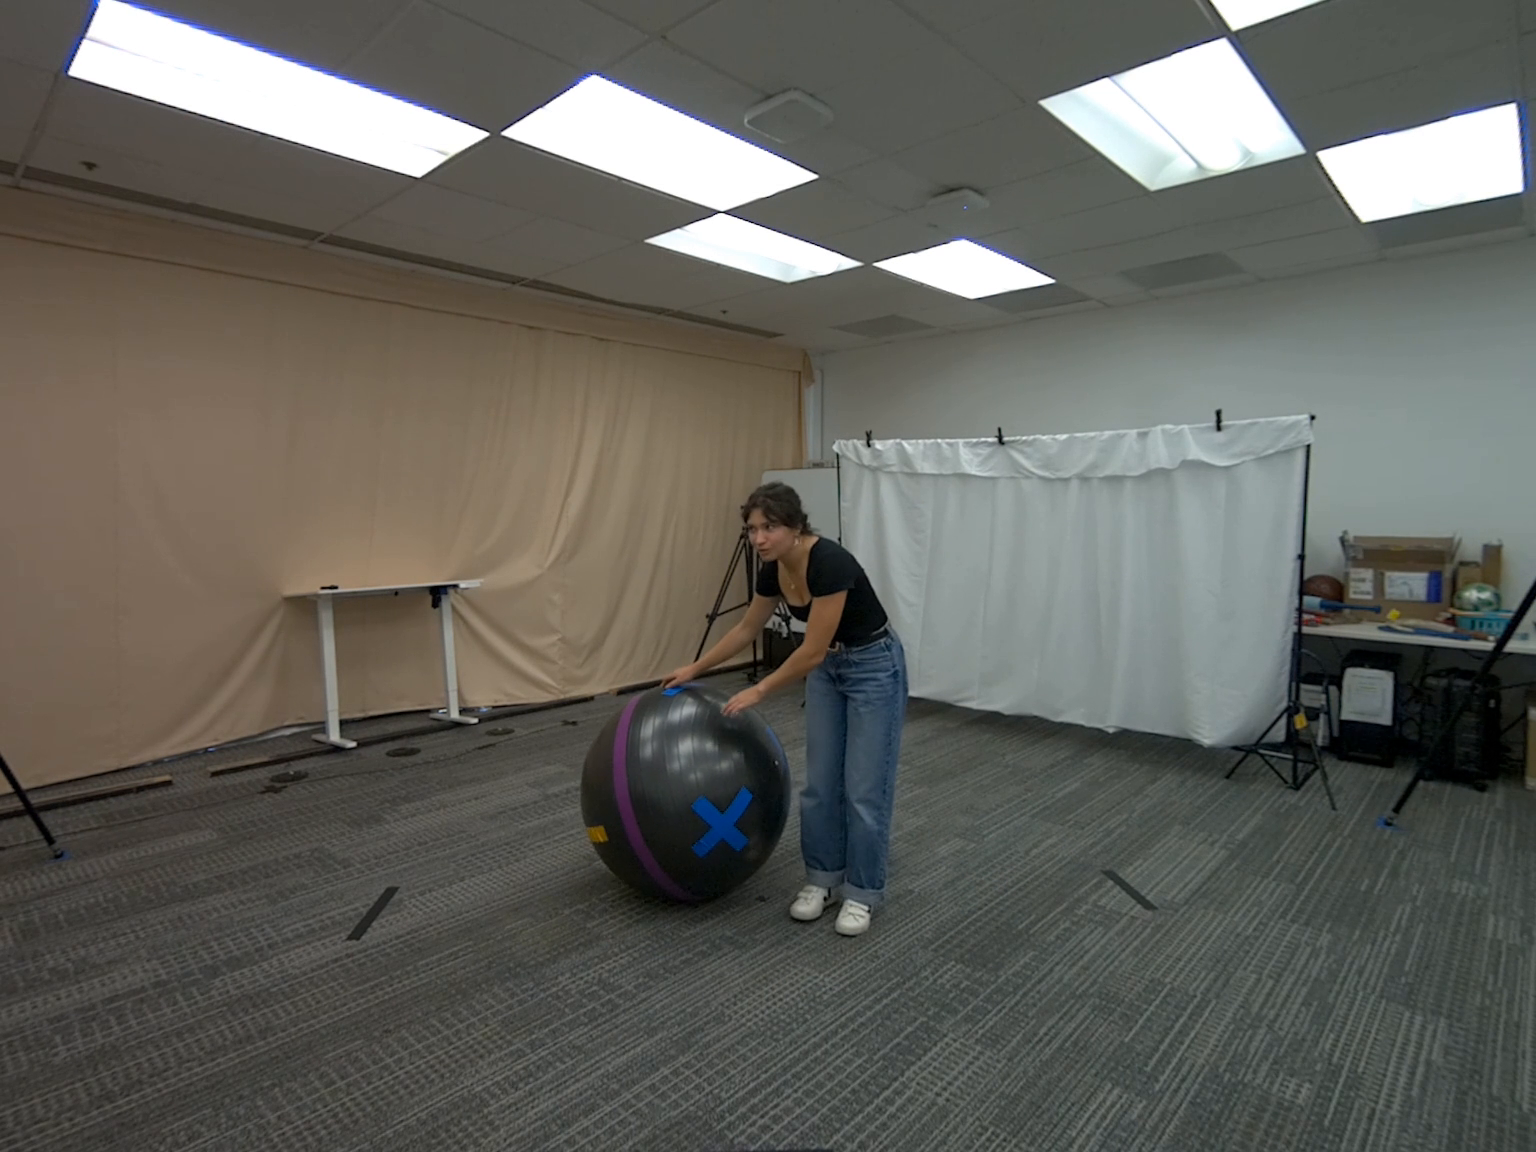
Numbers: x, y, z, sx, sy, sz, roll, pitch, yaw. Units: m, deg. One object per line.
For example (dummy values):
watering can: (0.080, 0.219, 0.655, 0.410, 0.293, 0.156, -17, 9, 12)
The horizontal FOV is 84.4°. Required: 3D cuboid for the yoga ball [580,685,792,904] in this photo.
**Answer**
yoga ball: (-0.294, 0.772, 3.043, 0.757, 0.756, 0.760, 0, 4, -2)
